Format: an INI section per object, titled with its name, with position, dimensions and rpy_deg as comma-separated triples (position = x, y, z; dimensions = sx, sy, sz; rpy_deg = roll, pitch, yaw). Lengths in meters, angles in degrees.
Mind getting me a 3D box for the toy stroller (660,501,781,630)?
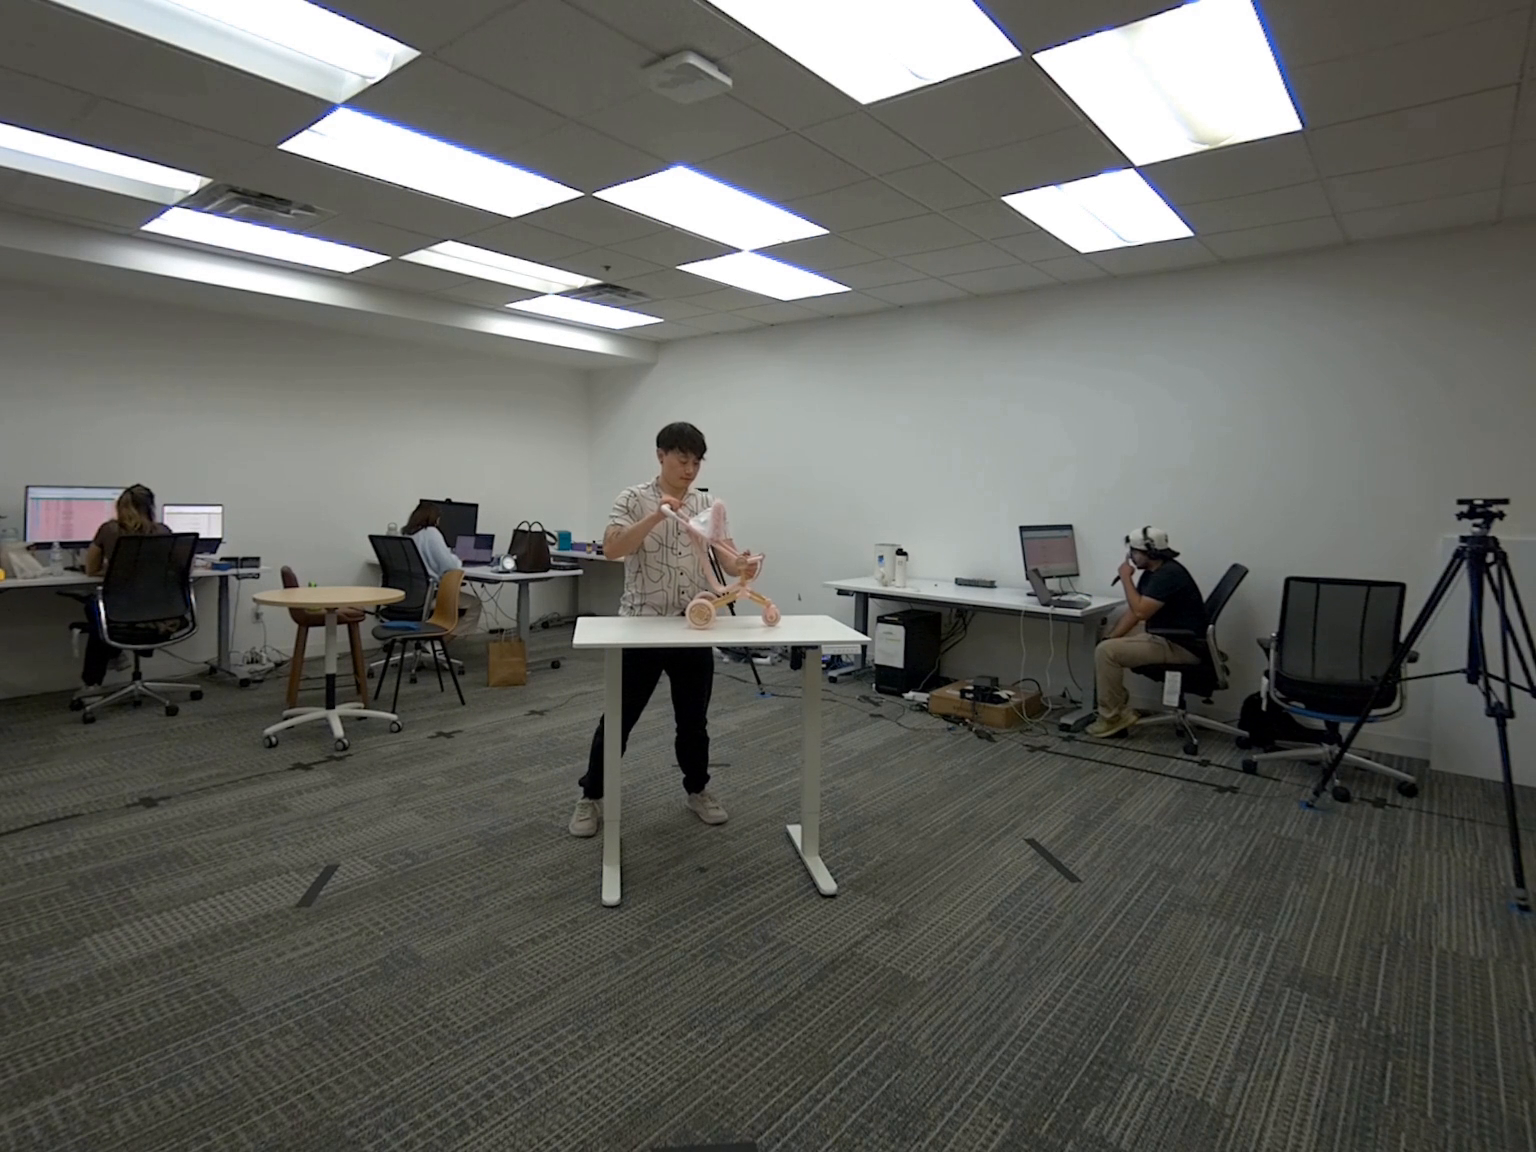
[toy stroller]
position = -0.180, -0.046, 3.176
dimensions = 0.344, 0.535, 0.279
rpy_deg = -11, 0, 9
